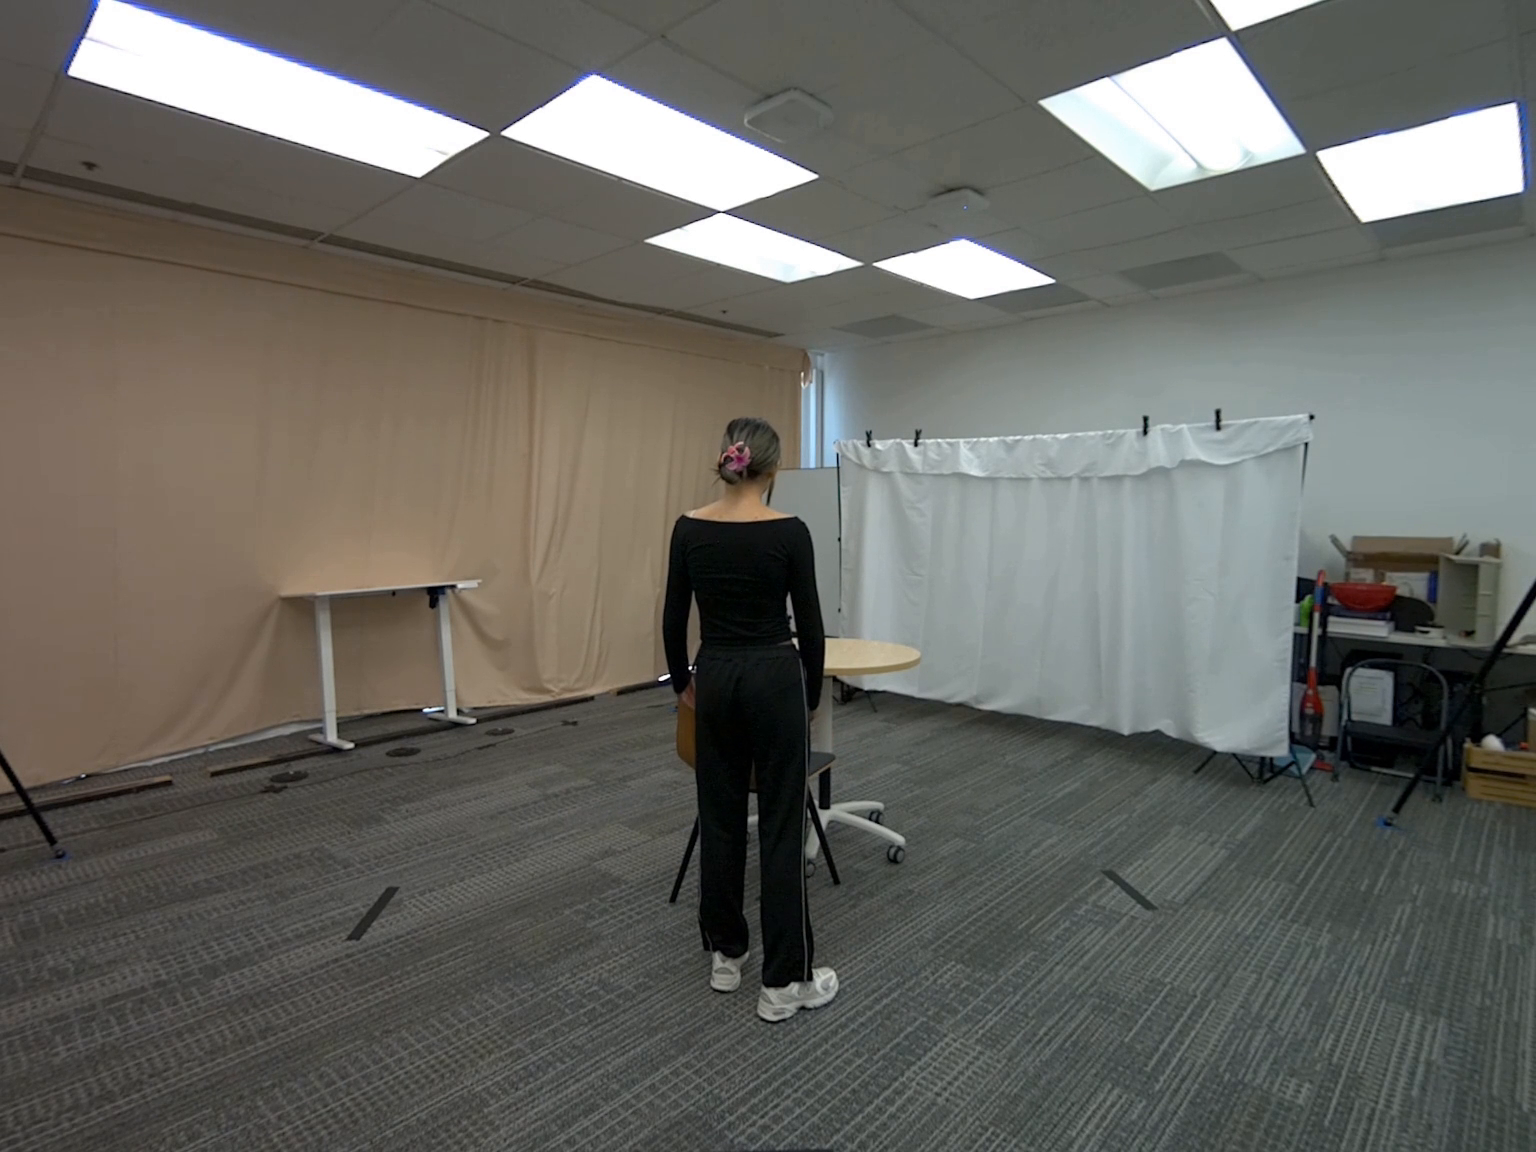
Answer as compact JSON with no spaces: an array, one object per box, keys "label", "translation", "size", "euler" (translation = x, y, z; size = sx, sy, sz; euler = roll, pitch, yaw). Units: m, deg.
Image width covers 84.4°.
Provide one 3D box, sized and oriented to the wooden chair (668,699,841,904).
[{"label":"wooden chair","translation":[-0.041,0.712,3.002],"size":[0.492,0.873,0.510],"euler":[1,8,32]}]
